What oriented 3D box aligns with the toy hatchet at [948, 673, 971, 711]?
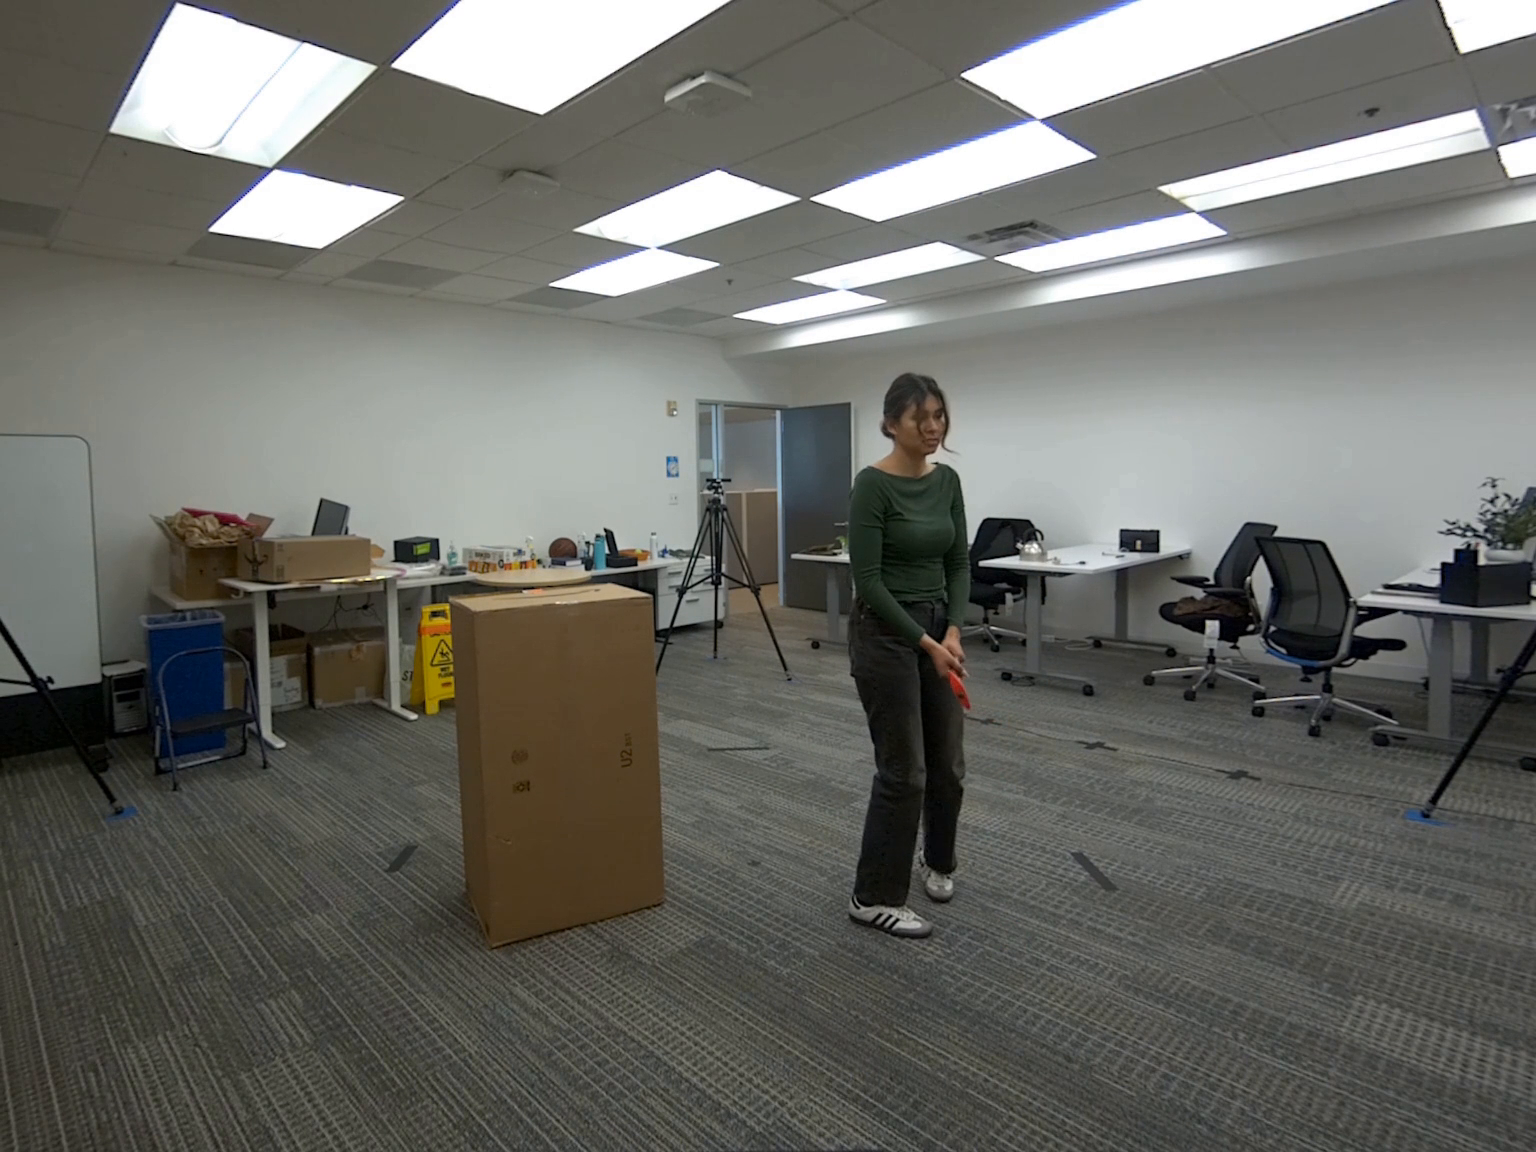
[{"bbox_3d":[0.533,0.305,2.437,0.030,0.131,0.269,-26,1,7],"label":"toy hatchet"}]
